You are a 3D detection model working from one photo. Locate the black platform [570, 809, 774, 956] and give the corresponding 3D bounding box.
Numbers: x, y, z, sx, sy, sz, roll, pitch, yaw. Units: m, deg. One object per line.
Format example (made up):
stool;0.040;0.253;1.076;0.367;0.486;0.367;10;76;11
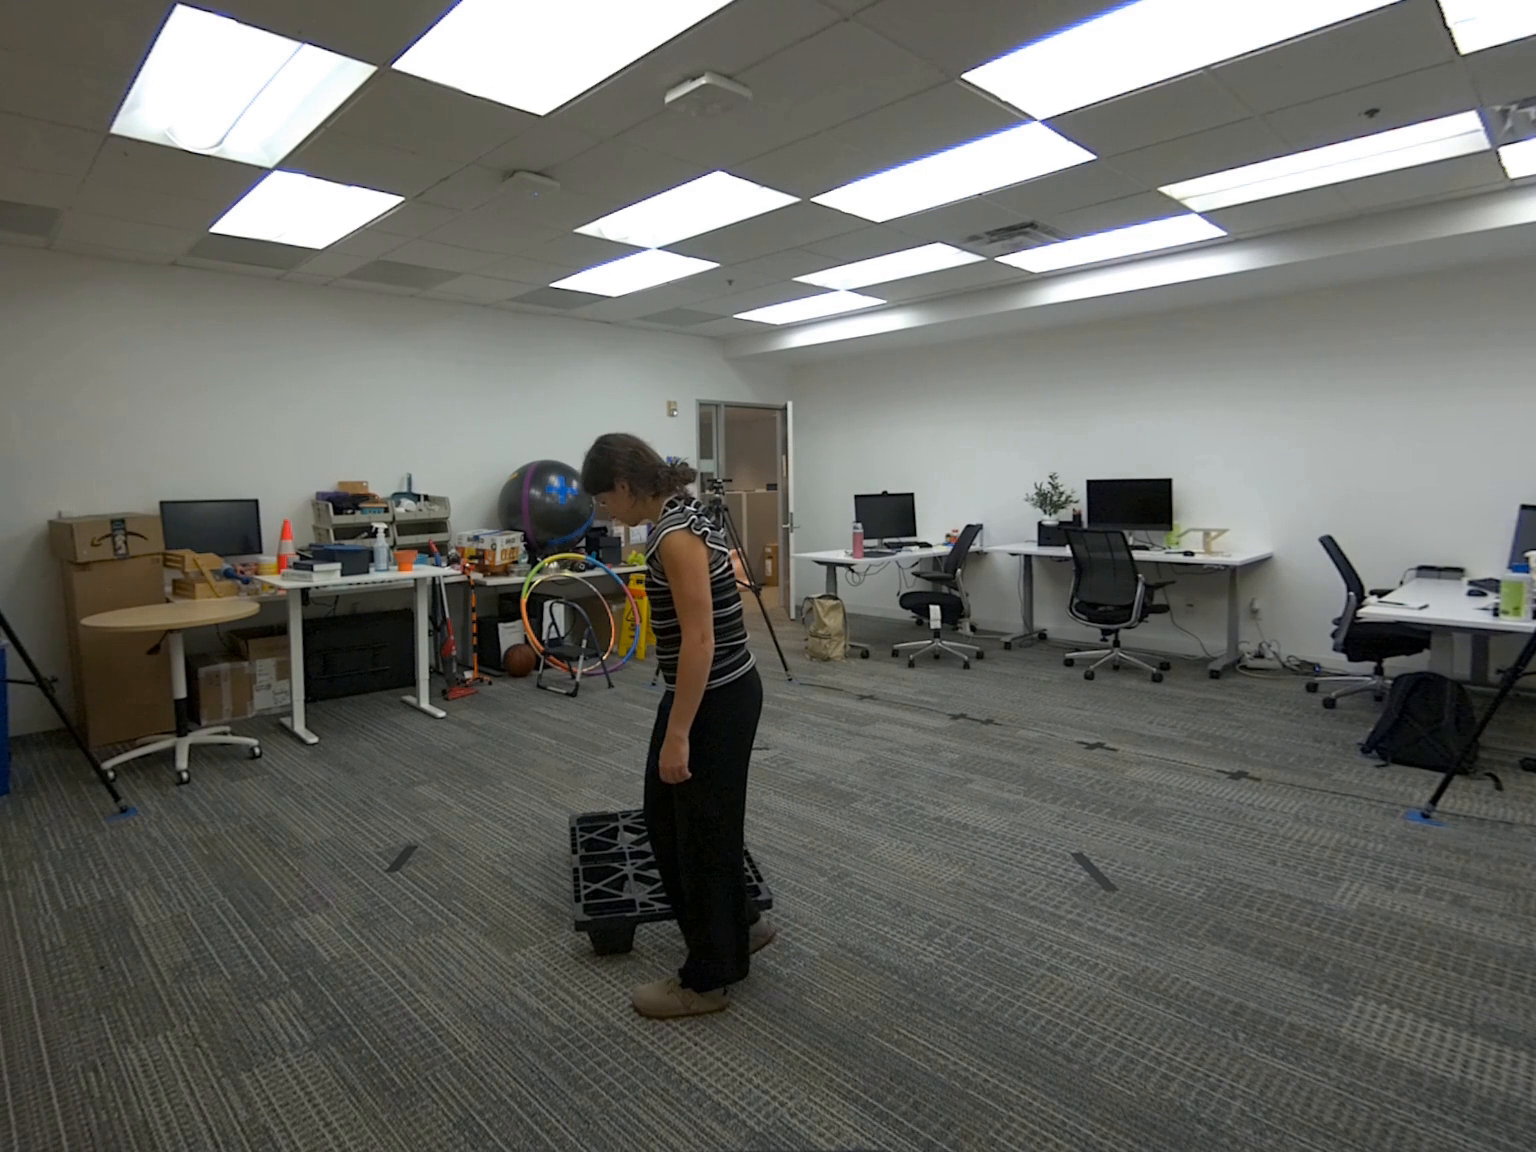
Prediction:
black platform;-0.369;1.003;2.915;0.598;0.142;0.819;-4;7;-13
